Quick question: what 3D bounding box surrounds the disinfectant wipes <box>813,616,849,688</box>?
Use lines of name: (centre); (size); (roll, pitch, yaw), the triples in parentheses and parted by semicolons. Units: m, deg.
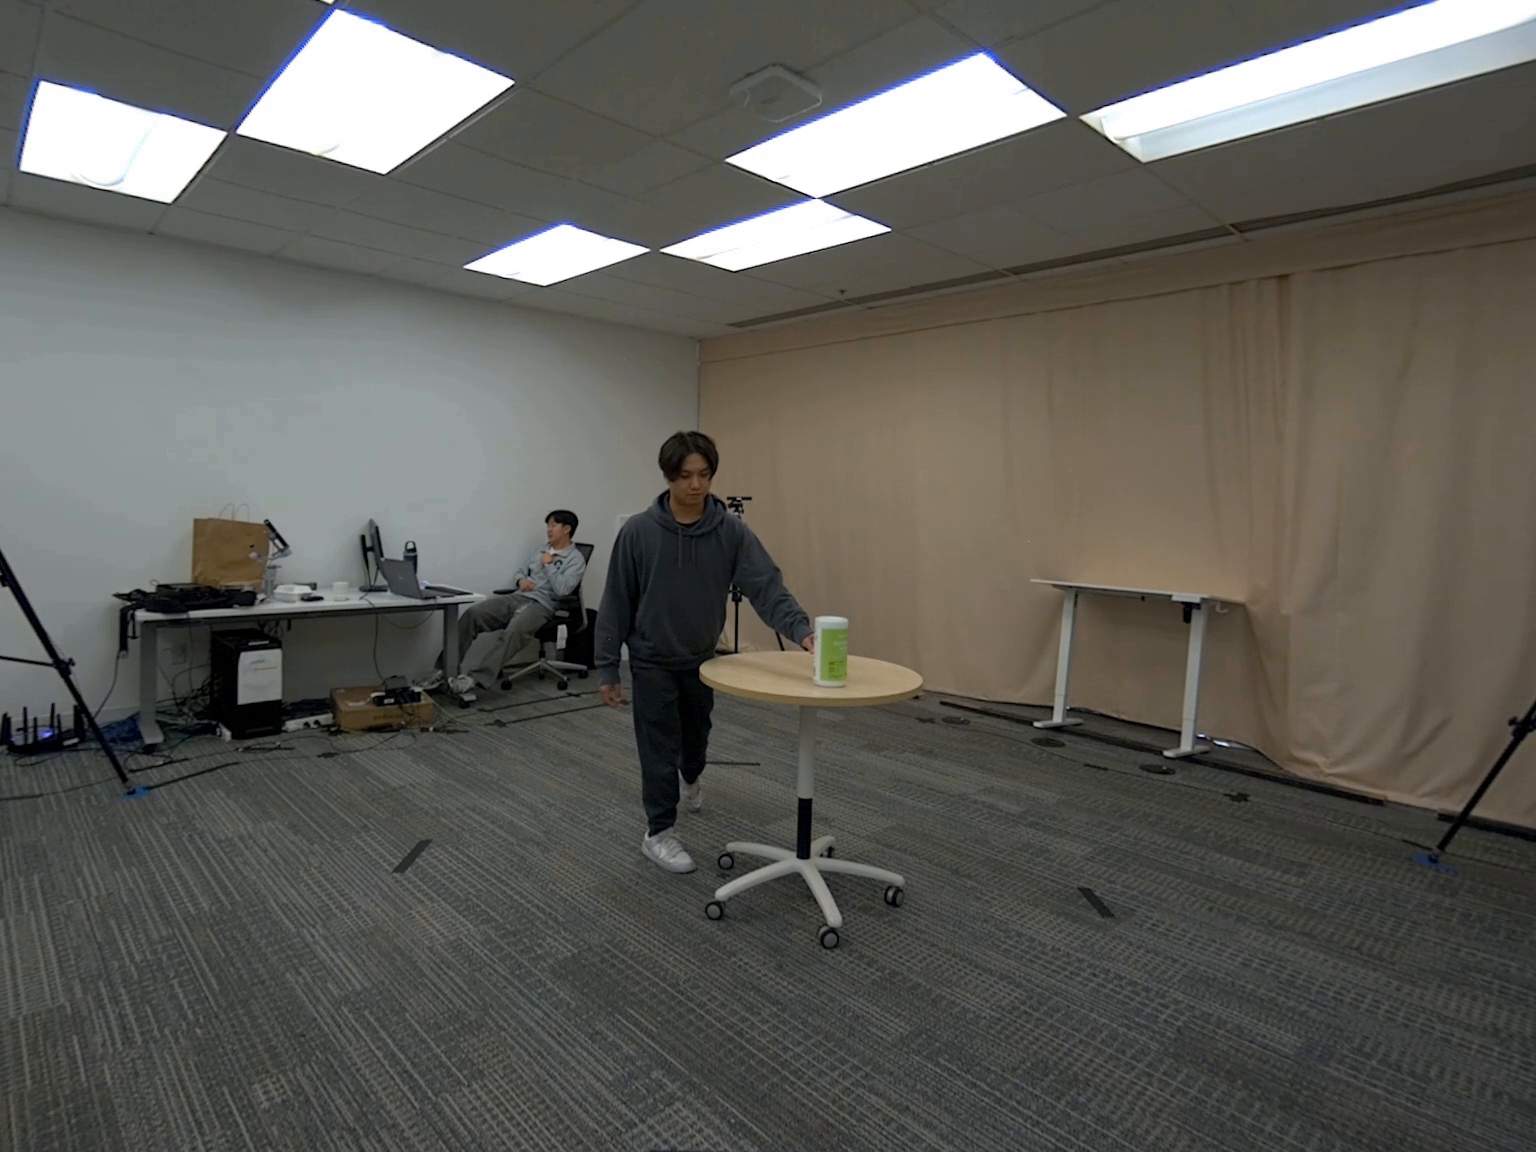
disinfectant wipes: (0.195, 0.247, 2.719); (0.118, 0.217, 0.118); (2, 4, -2)
